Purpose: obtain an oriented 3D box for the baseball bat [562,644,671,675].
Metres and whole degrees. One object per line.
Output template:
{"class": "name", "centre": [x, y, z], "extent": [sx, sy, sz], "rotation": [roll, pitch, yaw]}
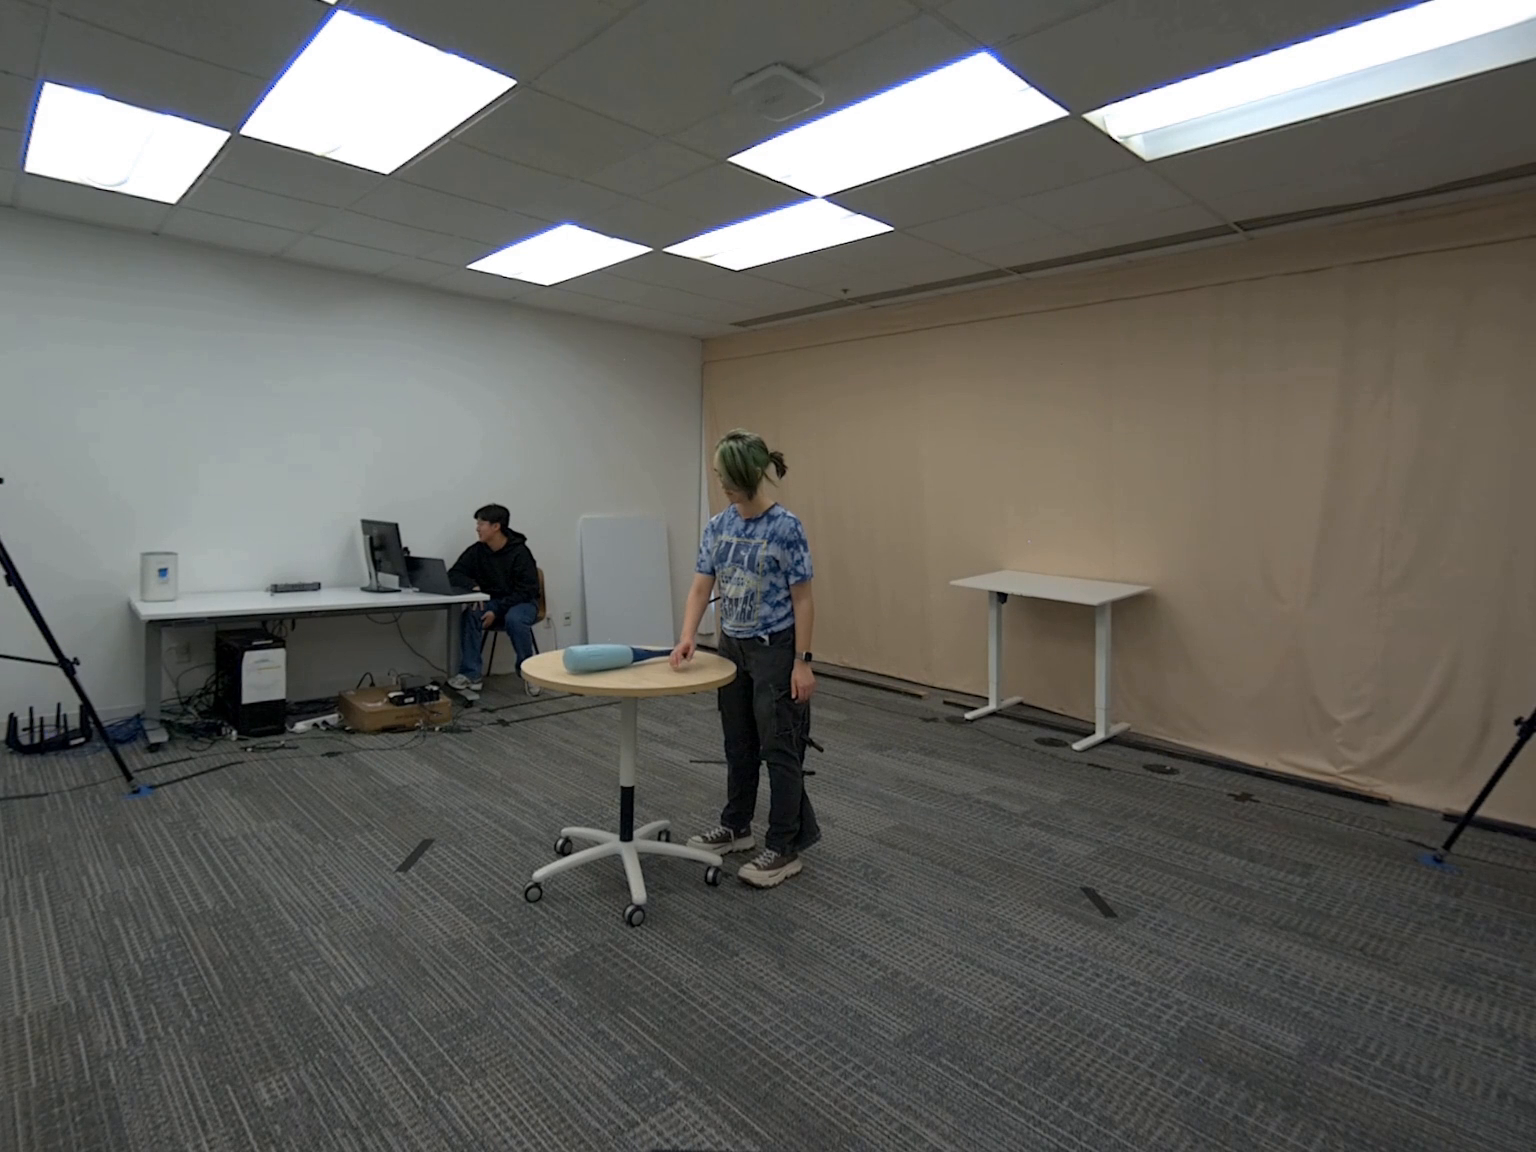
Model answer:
{"class": "baseball bat", "centre": [-0.489, 0.287, 3.003], "extent": [0.091, 0.089, 0.530], "rotation": [6, 3, 44]}
